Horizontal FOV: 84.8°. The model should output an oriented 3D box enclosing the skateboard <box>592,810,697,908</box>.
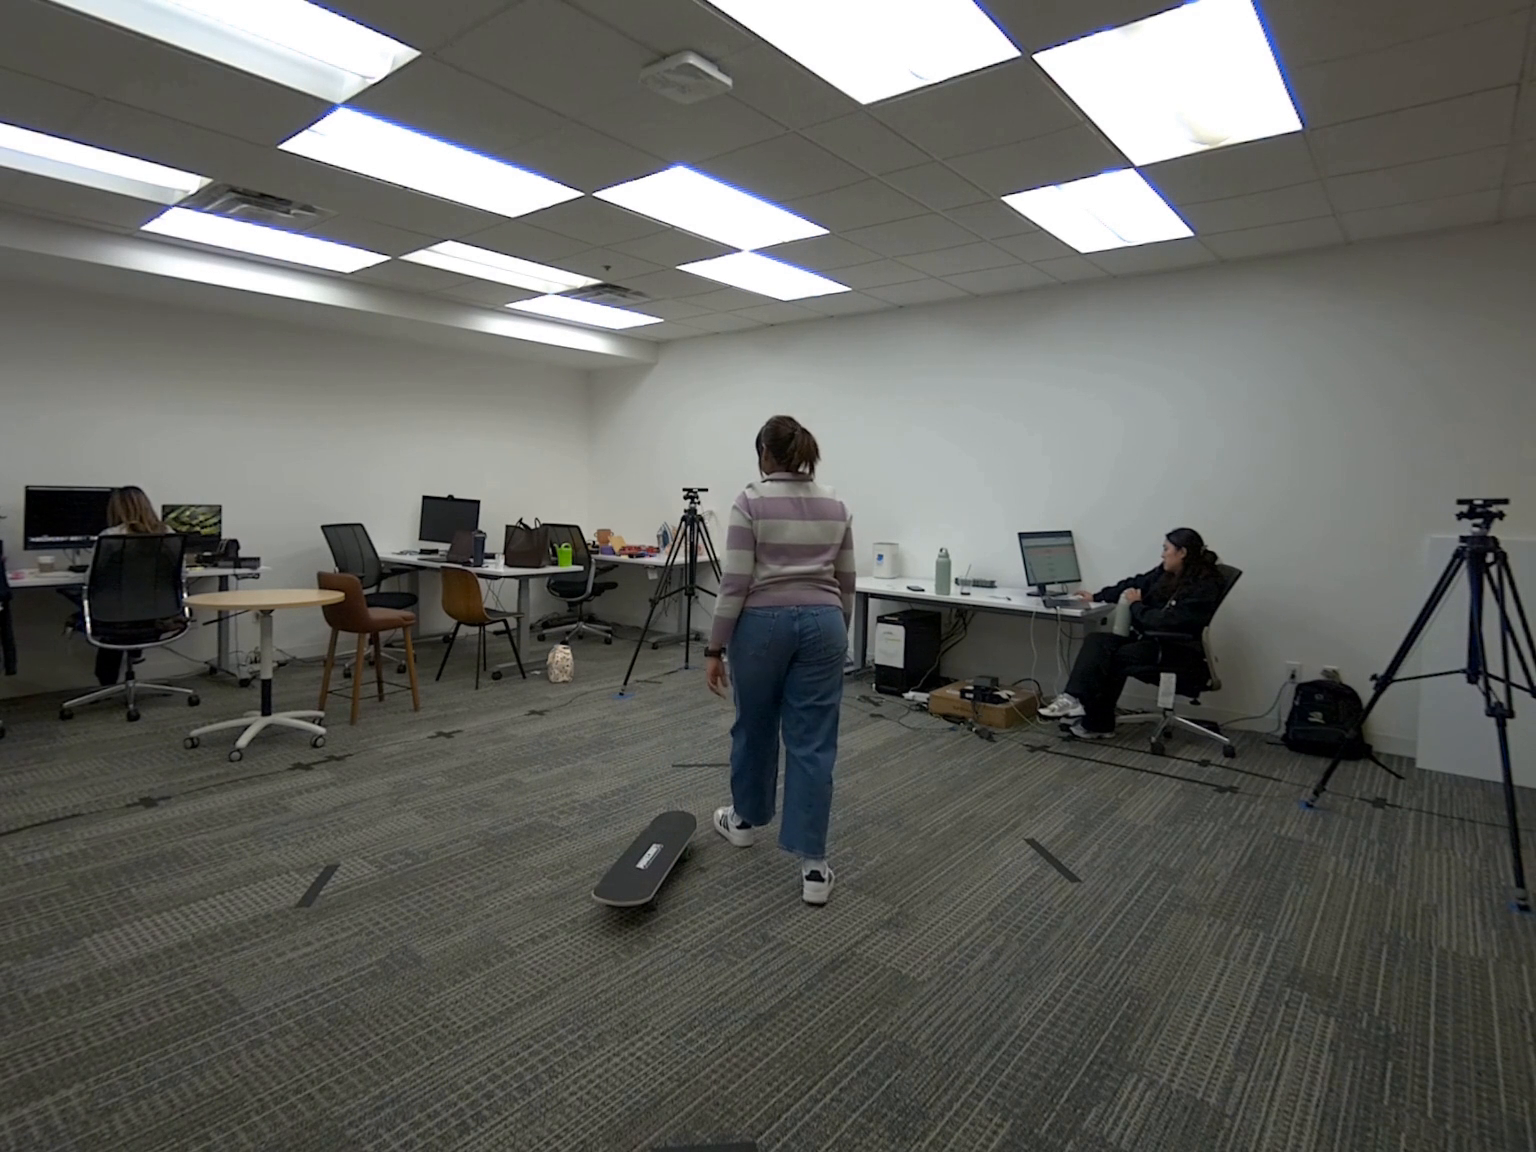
[{"bbox_3d":[-0.429,1.019,3.011,0.196,0.110,0.779,2,5,9],"label":"skateboard"}]
